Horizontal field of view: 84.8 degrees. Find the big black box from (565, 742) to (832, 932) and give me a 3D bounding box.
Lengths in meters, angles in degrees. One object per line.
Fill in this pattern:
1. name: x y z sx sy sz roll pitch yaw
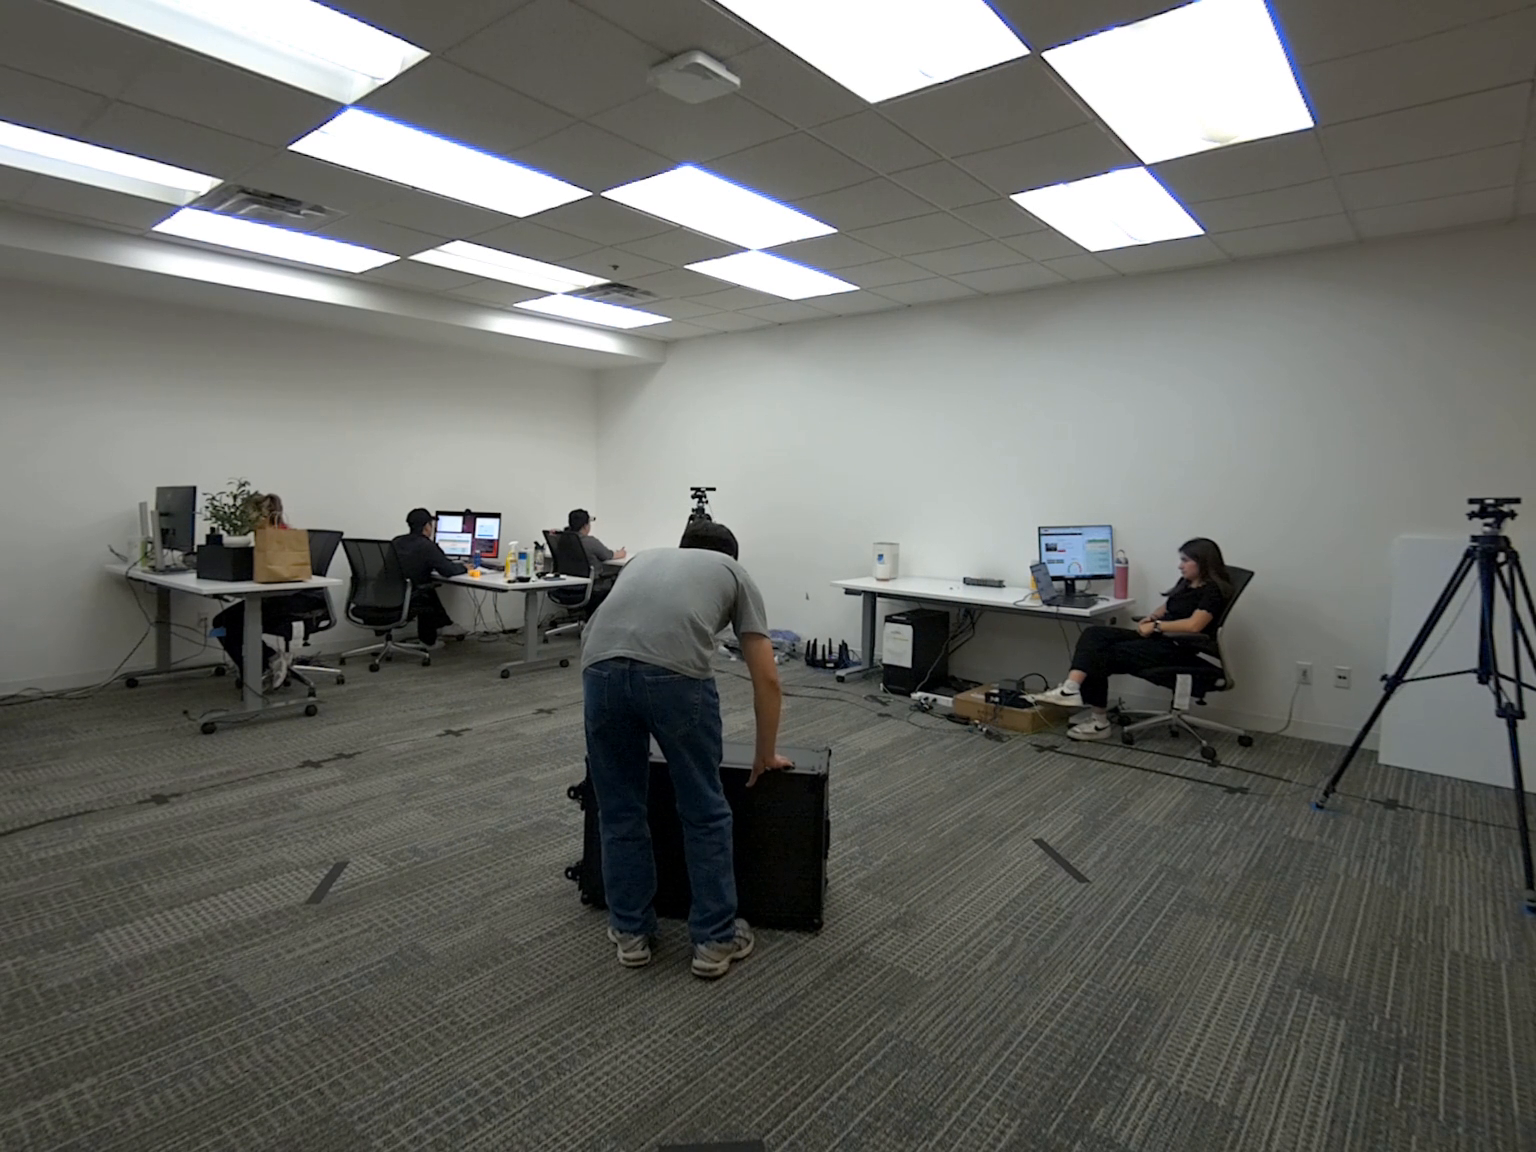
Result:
1. big black box: -0.233 0.824 2.904 0.870 0.521 0.392 2 0 9
